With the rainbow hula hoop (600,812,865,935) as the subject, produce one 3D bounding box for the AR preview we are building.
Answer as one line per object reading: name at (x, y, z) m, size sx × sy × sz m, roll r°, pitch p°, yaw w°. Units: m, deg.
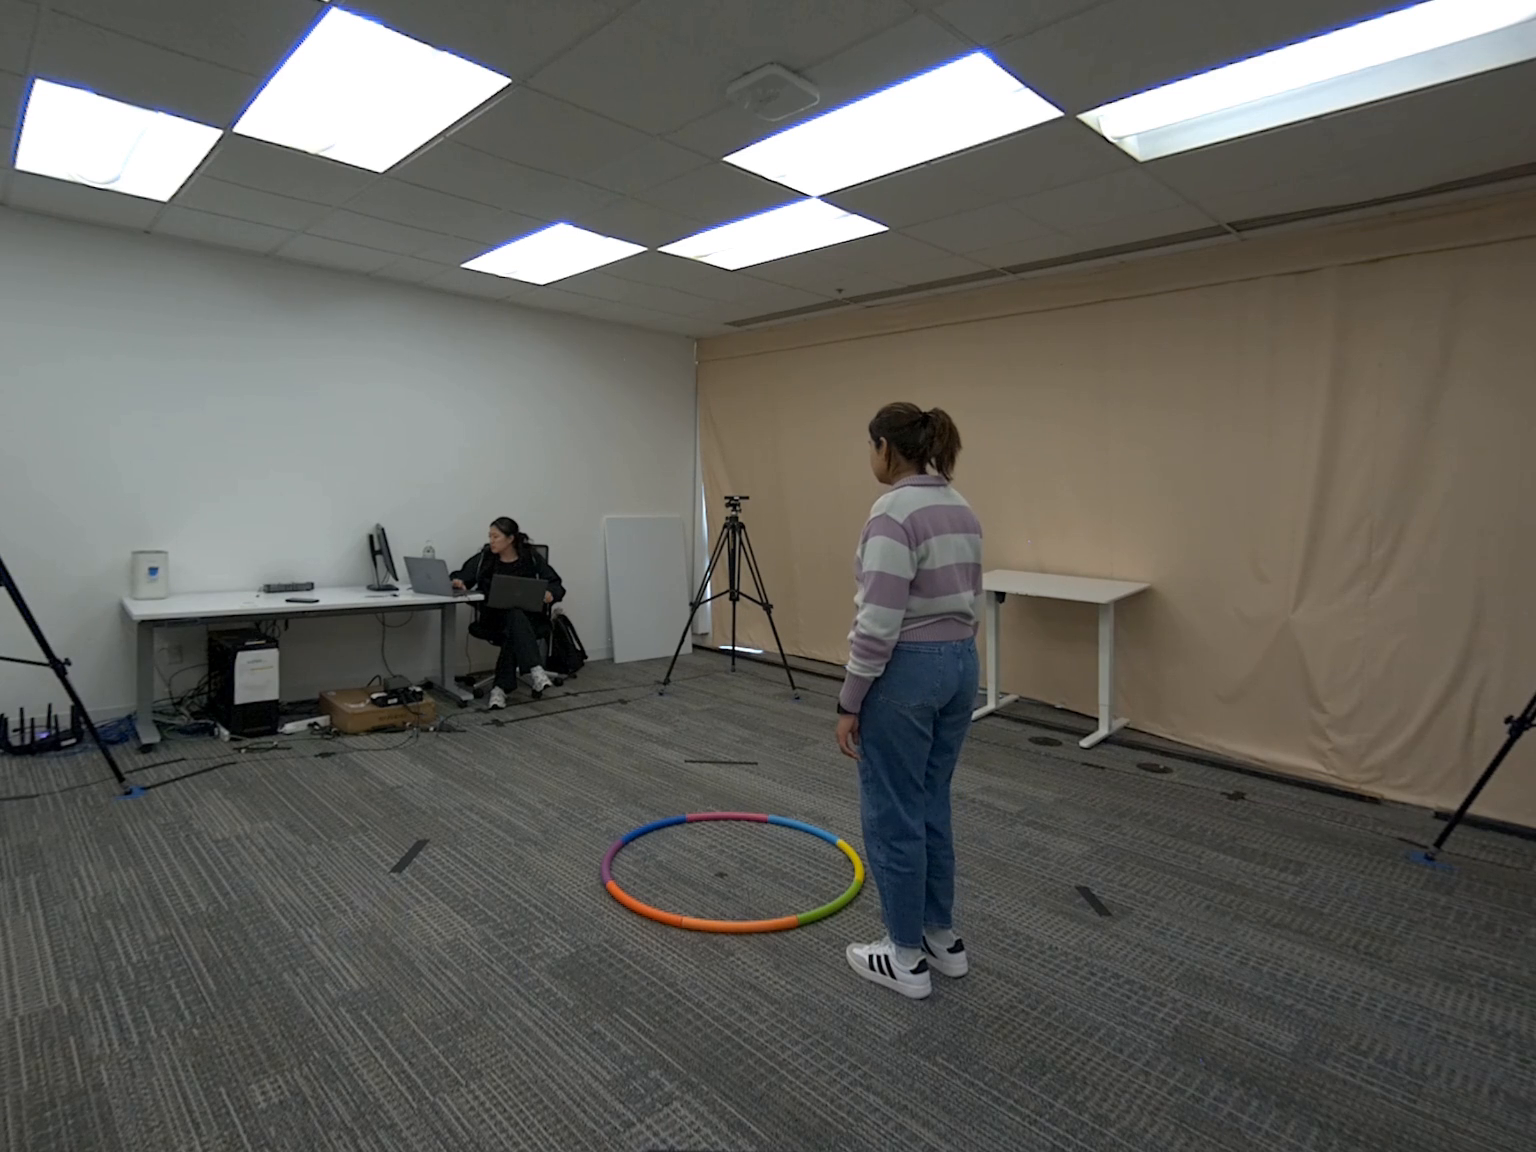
rainbow hula hoop at (-0.136, 1.067, 3.167) m, size 0.978 × 0.035 × 0.982 m, roll 1°, pitch 5°, yaw -1°
